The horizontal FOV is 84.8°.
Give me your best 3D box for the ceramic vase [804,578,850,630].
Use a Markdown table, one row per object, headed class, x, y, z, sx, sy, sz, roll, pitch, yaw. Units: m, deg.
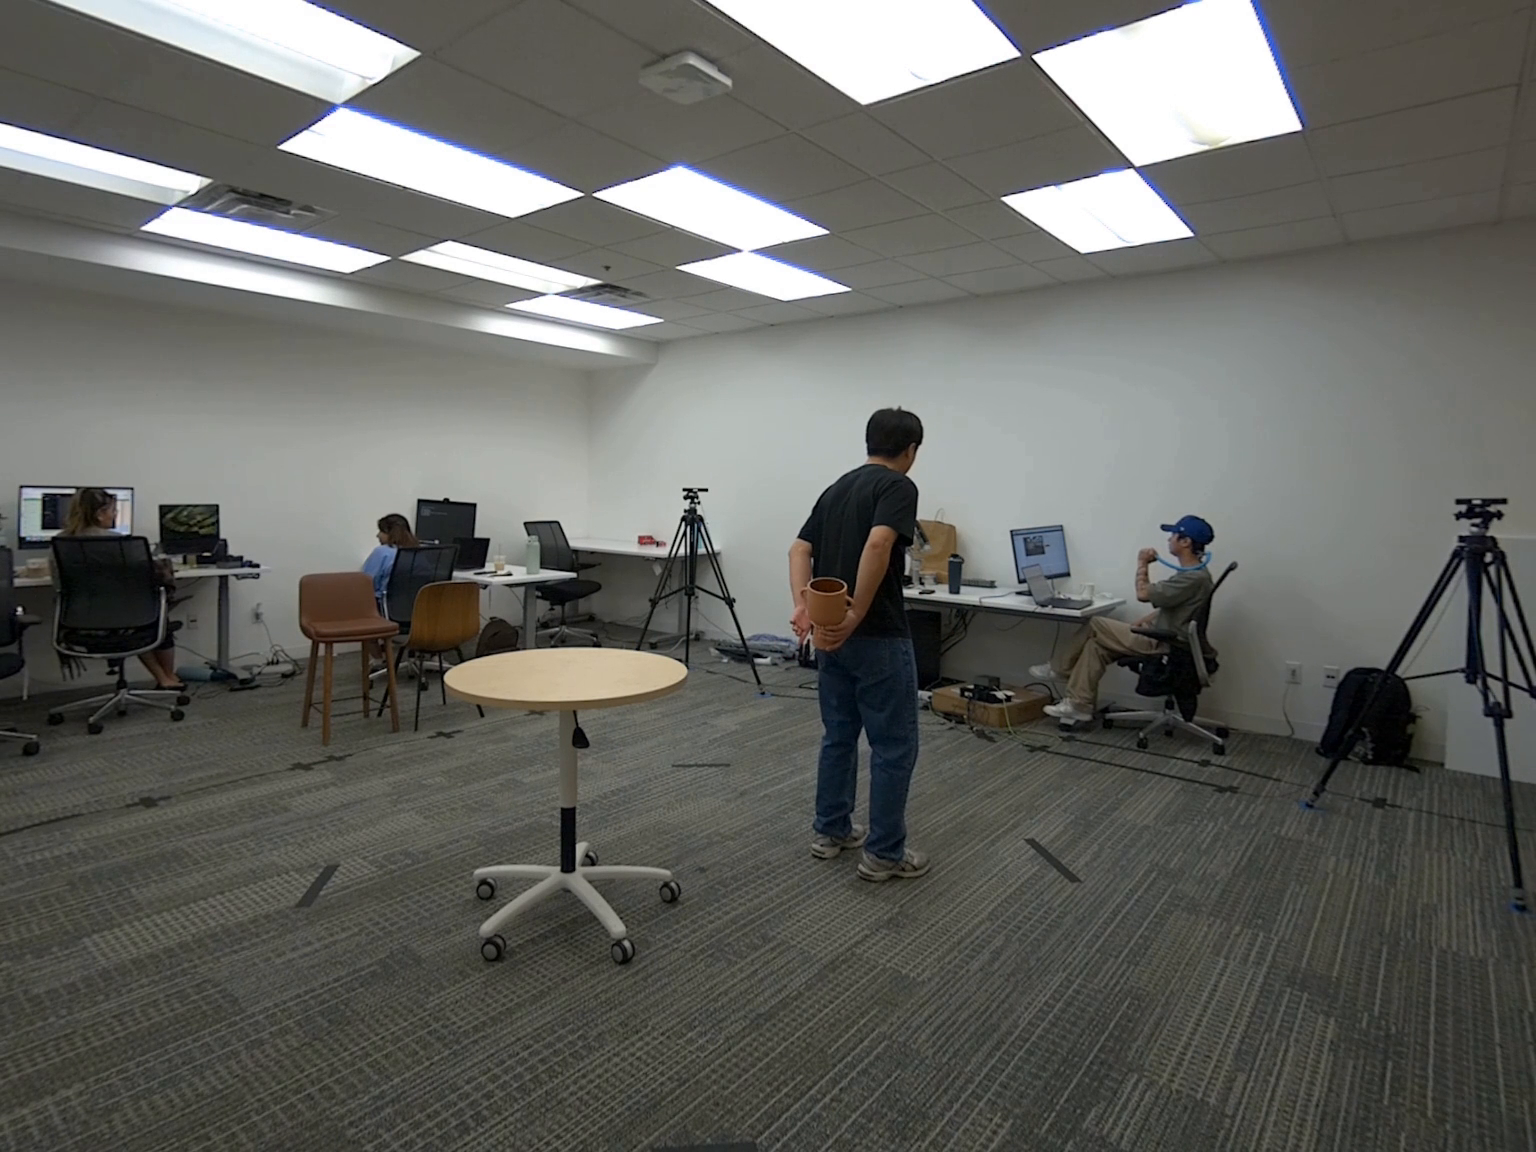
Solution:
| class | x | y | z | sx | sy | sz | roll | pitch | yaw |
| --- | --- | --- | --- | --- | --- | --- | --- | --- | --- |
| ceramic vase | 0.200 | 0.128 | 2.909 | 0.132 | 0.215 | 0.165 | -10 | 24 | -23 |
